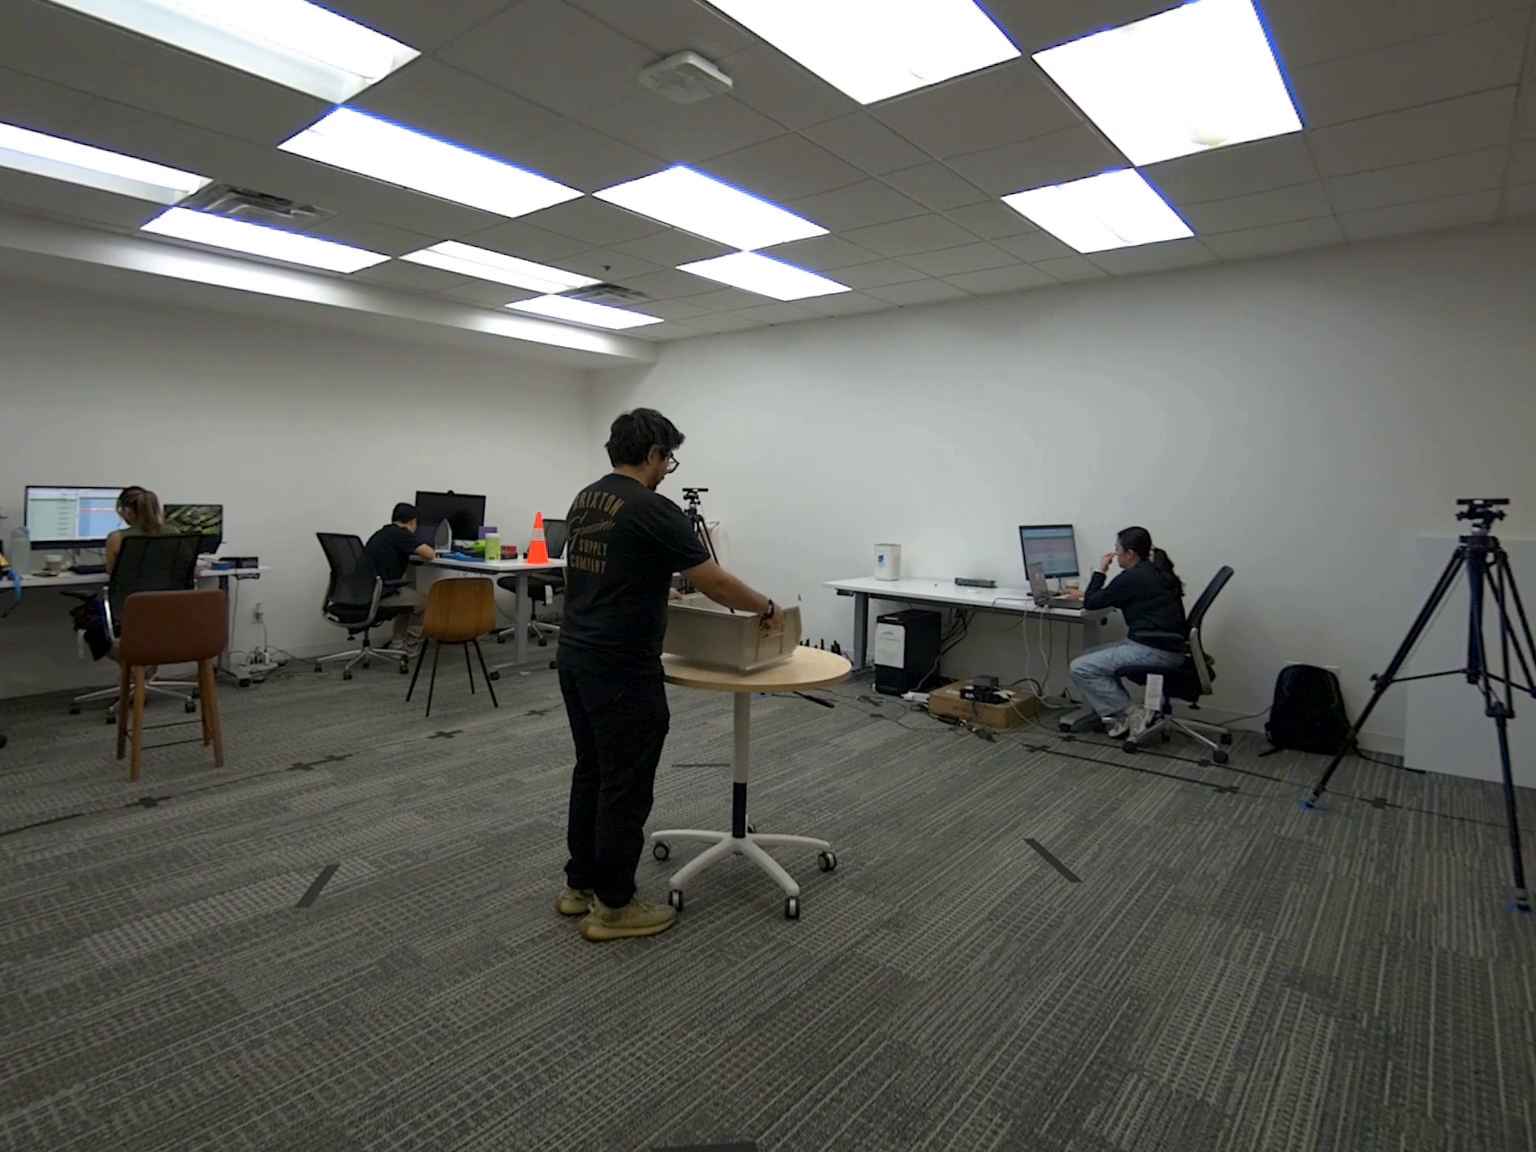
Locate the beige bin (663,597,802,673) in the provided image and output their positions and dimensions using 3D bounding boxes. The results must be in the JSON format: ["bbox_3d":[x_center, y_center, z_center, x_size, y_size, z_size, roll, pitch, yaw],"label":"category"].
[{"bbox_3d":[-0.163,0.180,2.989,0.436,0.188,0.367,6,8,32],"label":"beige bin"}]
